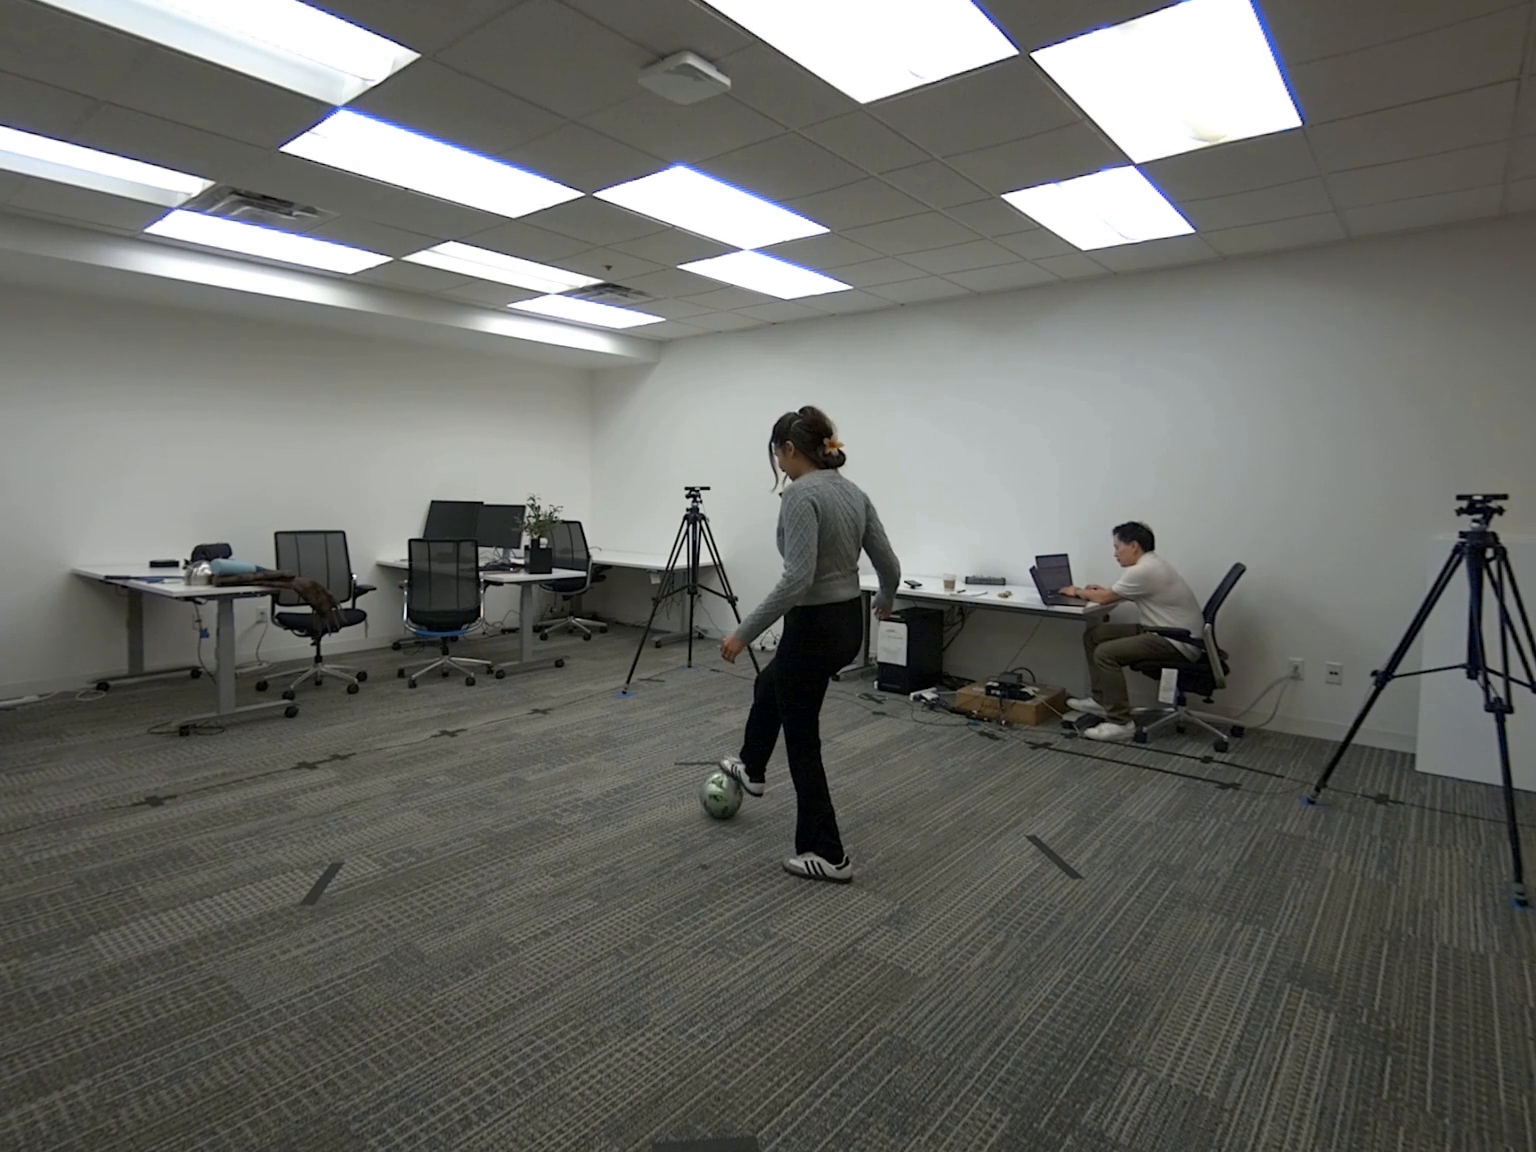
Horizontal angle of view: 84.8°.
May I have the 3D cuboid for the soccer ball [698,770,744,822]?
[{"bbox_3d":[-0.195,0.925,3.591,0.187,0.187,0.188,1,4,-2],"label":"soccer ball"}]
